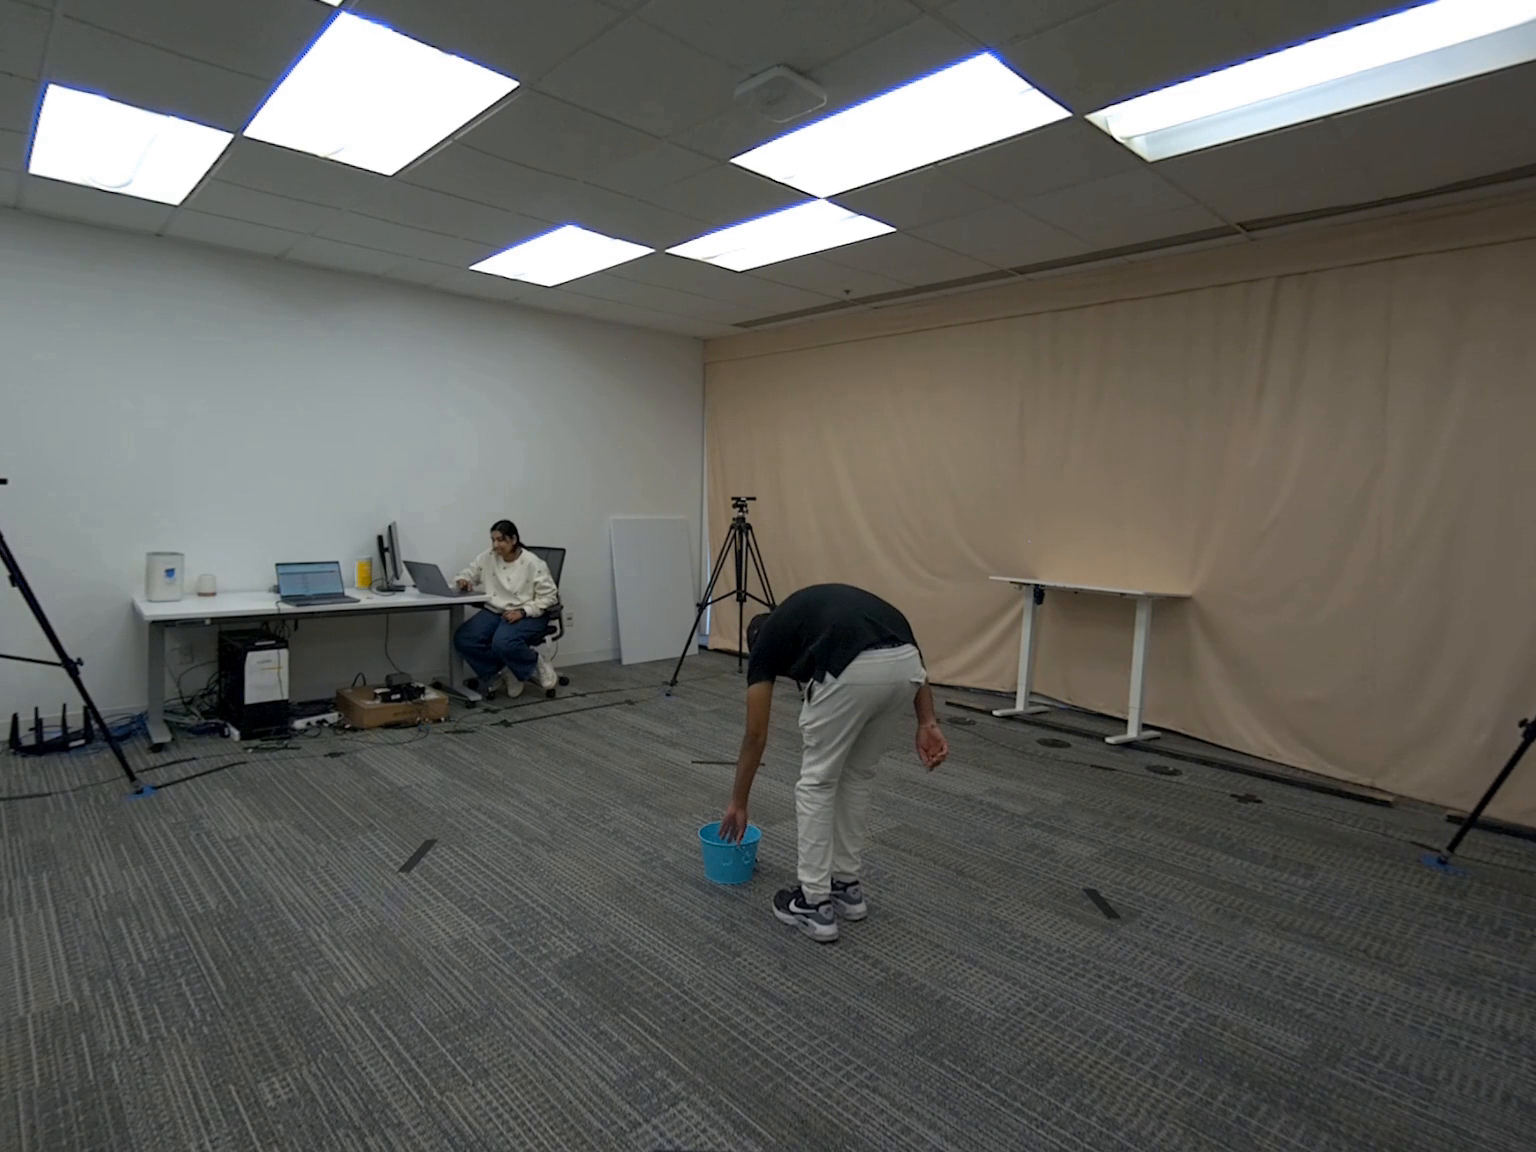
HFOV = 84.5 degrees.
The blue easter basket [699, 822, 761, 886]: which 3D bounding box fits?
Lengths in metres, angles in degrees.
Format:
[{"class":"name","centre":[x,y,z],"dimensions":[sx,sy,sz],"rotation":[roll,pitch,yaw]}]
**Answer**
[{"class":"blue easter basket","centre":[-0.146,1.026,3.120],"dimensions":[0.243,0.155,0.244],"rotation":[1,5,-1]}]
